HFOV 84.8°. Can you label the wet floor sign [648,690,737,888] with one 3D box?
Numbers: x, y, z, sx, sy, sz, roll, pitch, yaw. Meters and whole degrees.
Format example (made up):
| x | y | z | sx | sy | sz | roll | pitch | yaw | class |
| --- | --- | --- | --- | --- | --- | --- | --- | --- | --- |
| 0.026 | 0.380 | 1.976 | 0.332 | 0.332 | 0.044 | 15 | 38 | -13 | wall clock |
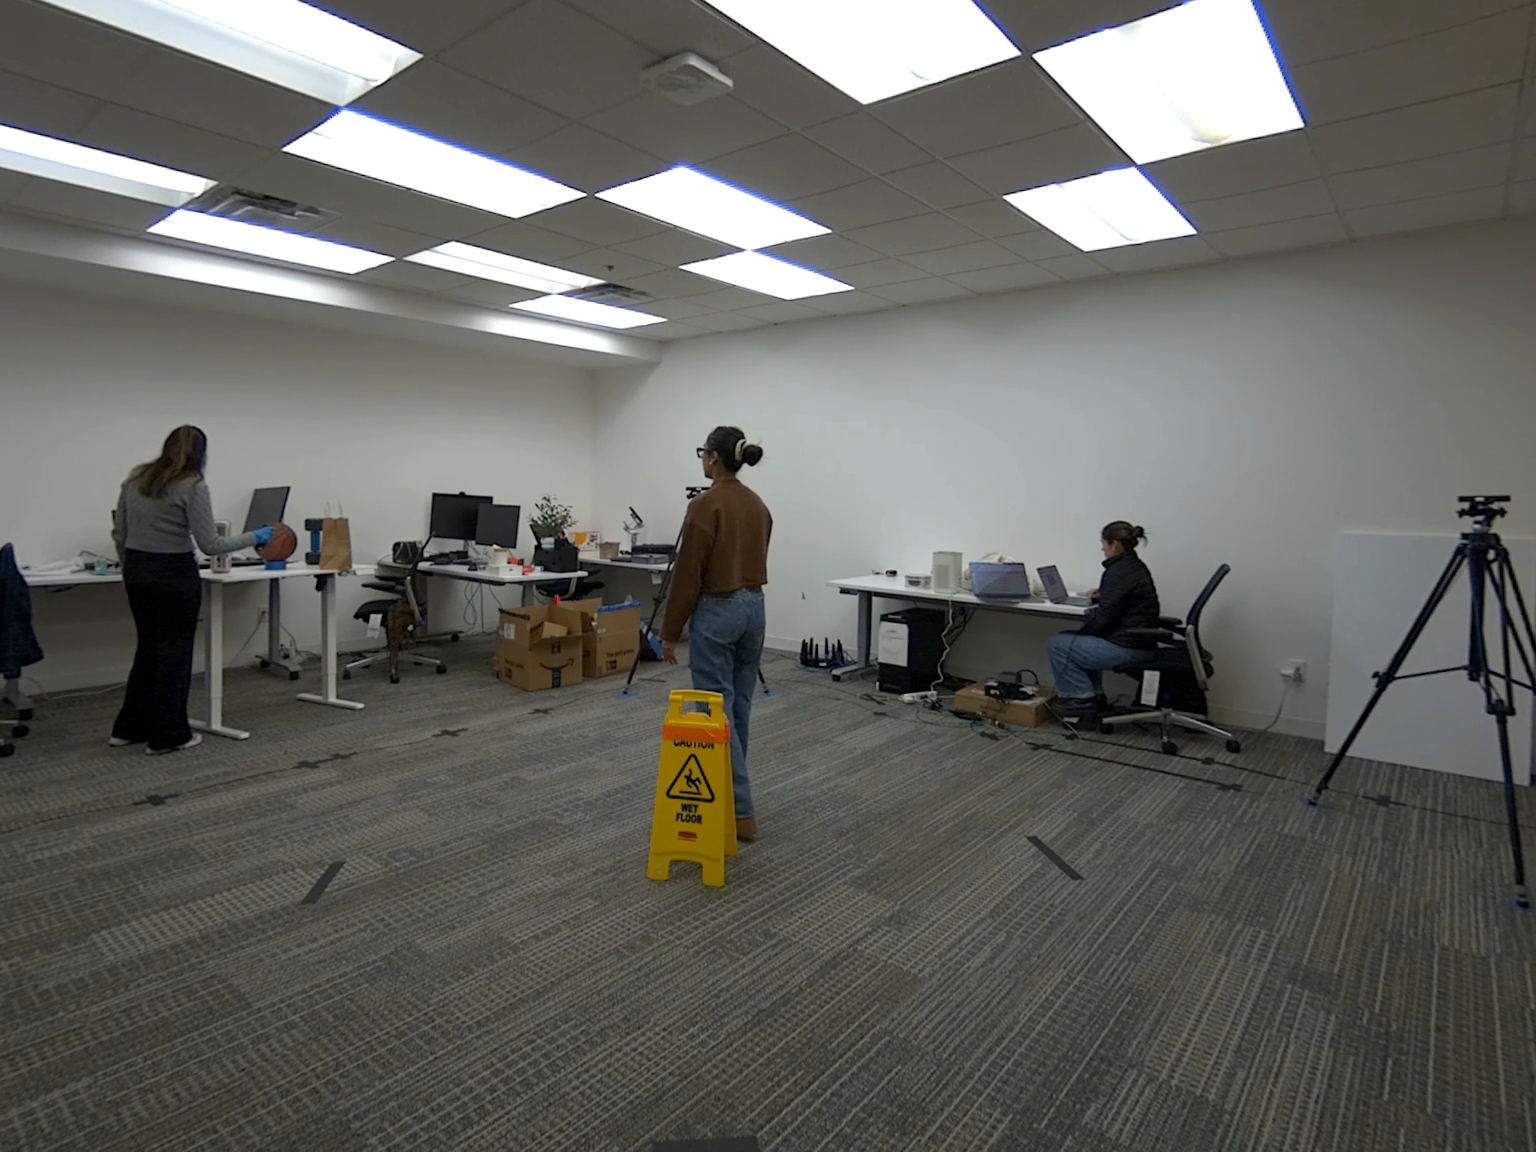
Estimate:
| x | y | z | sx | sy | sz | roll | pitch | yaw | class |
| --- | --- | --- | --- | --- | --- | --- | --- | --- | --- |
| -0.281 | 0.742 | 3.100 | 0.286 | 0.644 | 0.287 | 1 | 4 | 11 | wet floor sign |
